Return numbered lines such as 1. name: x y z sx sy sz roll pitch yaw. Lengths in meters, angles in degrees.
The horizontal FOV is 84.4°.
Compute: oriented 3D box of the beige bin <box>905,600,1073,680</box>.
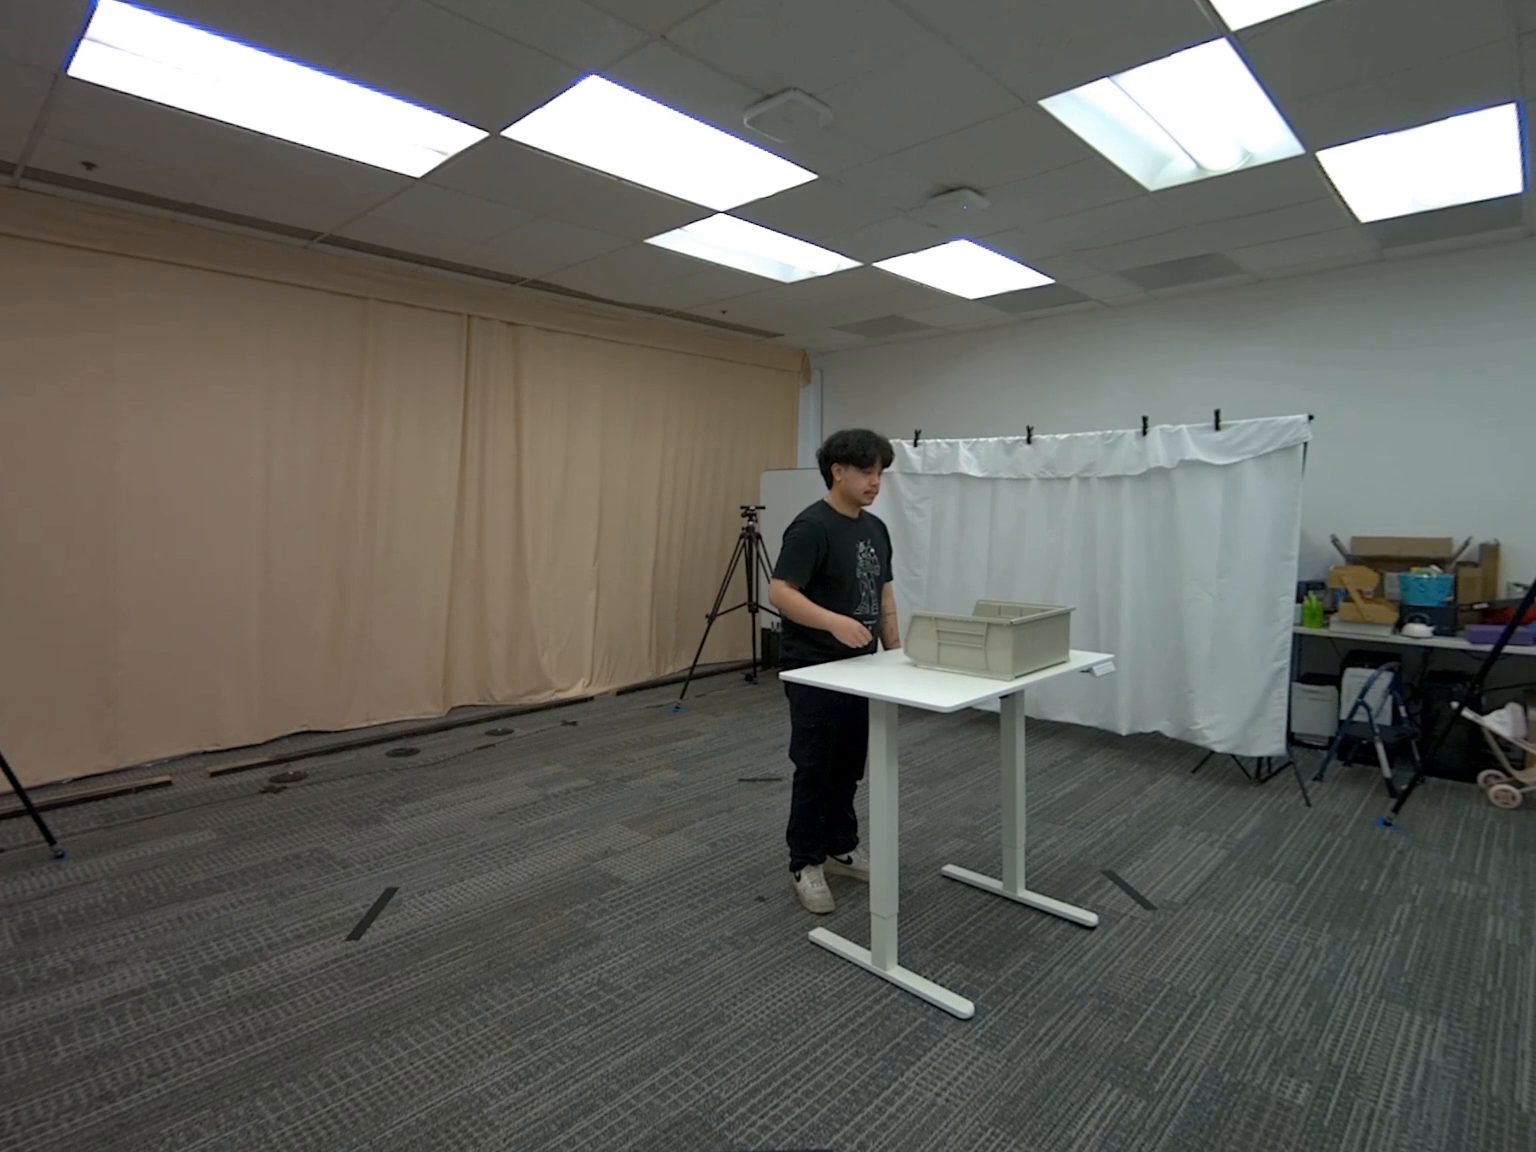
1. beige bin: 0.708 0.197 2.689 0.390 0.188 0.409 4 7 44
